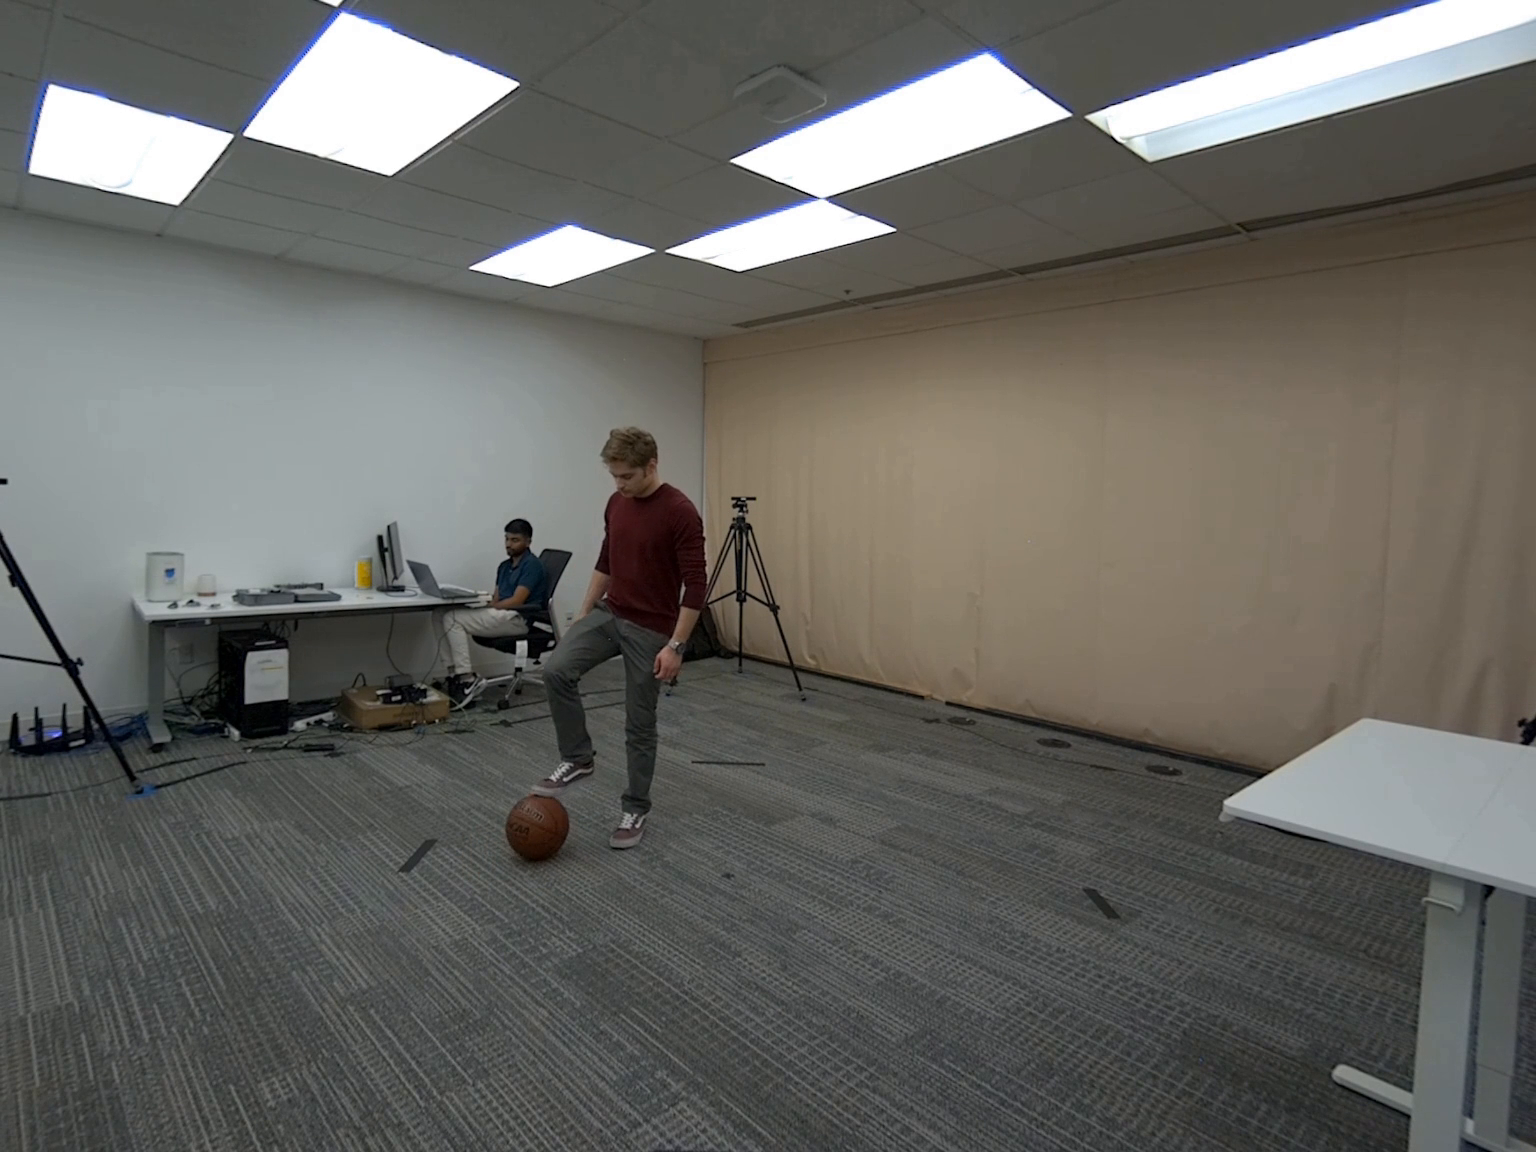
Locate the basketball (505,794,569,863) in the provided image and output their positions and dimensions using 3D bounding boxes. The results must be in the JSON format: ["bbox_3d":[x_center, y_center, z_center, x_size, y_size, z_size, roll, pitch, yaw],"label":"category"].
[{"bbox_3d":[-0.894,0.964,3.218,0.236,0.235,0.237,1,4,-1],"label":"basketball"}]
